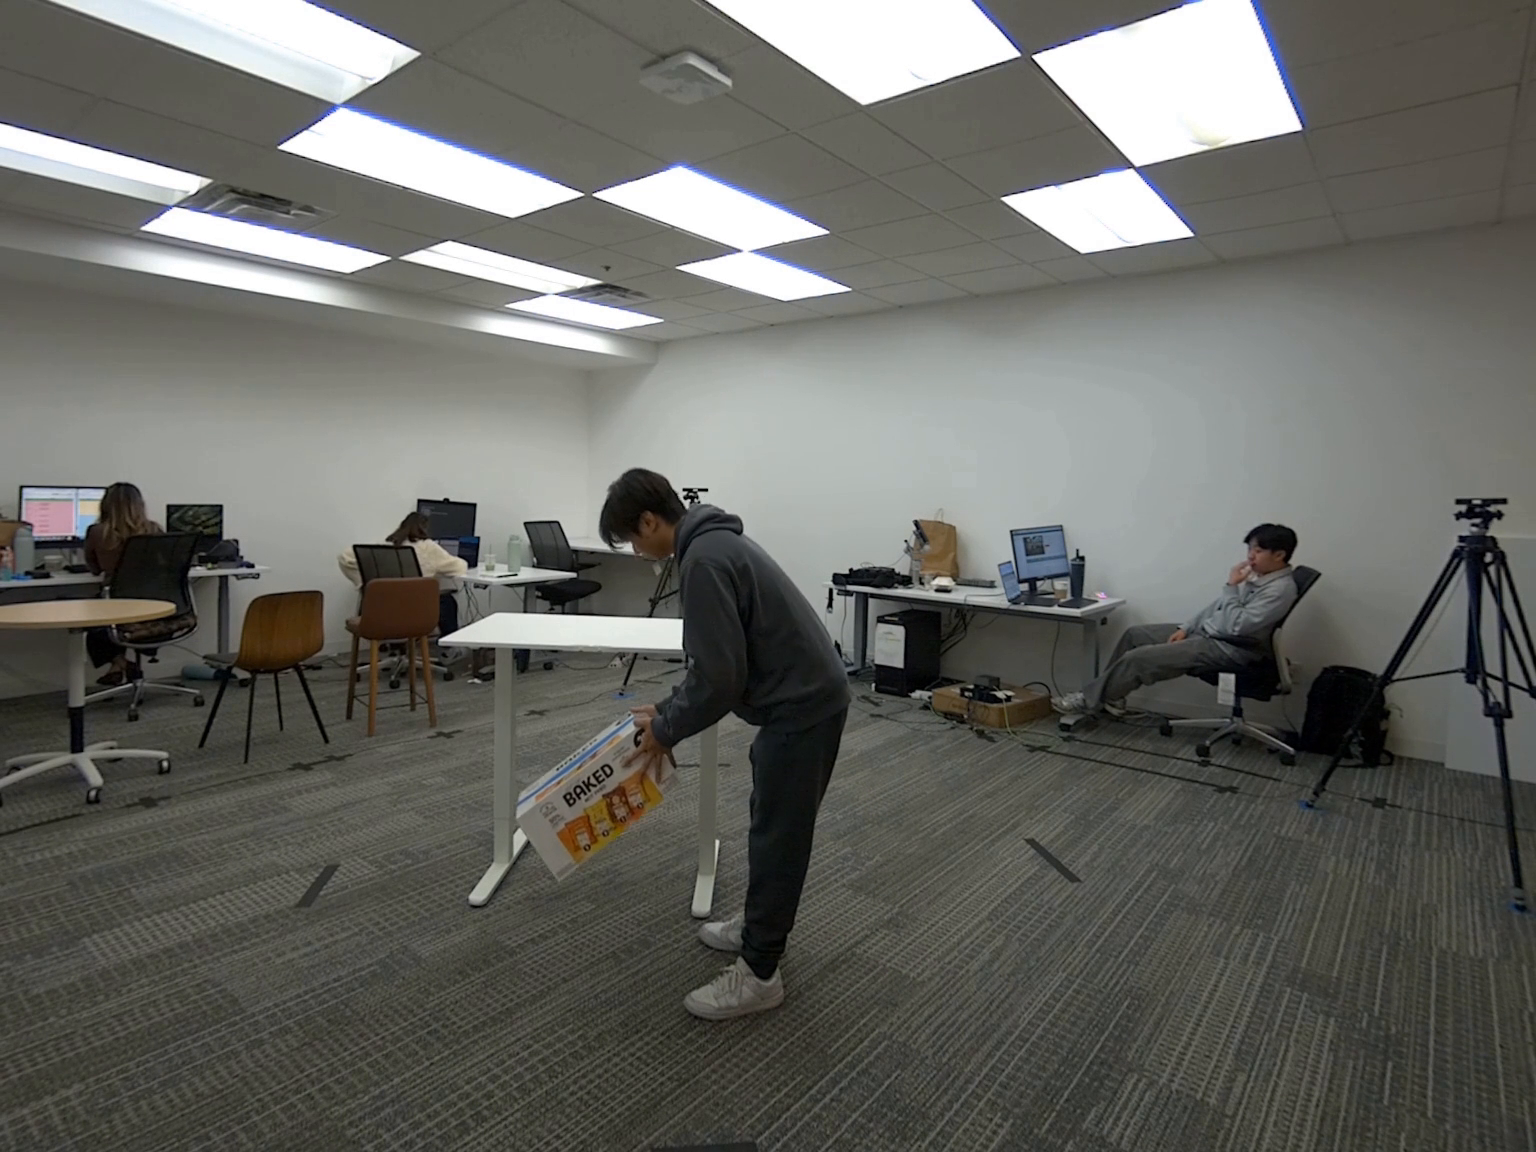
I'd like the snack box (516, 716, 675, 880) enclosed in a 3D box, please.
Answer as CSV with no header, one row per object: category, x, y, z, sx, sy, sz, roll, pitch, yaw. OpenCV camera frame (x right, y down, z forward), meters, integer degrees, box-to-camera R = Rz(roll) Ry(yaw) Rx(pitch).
snack box,-0.492,0.602,2.396,0.403,0.205,0.343,-36,5,-13
